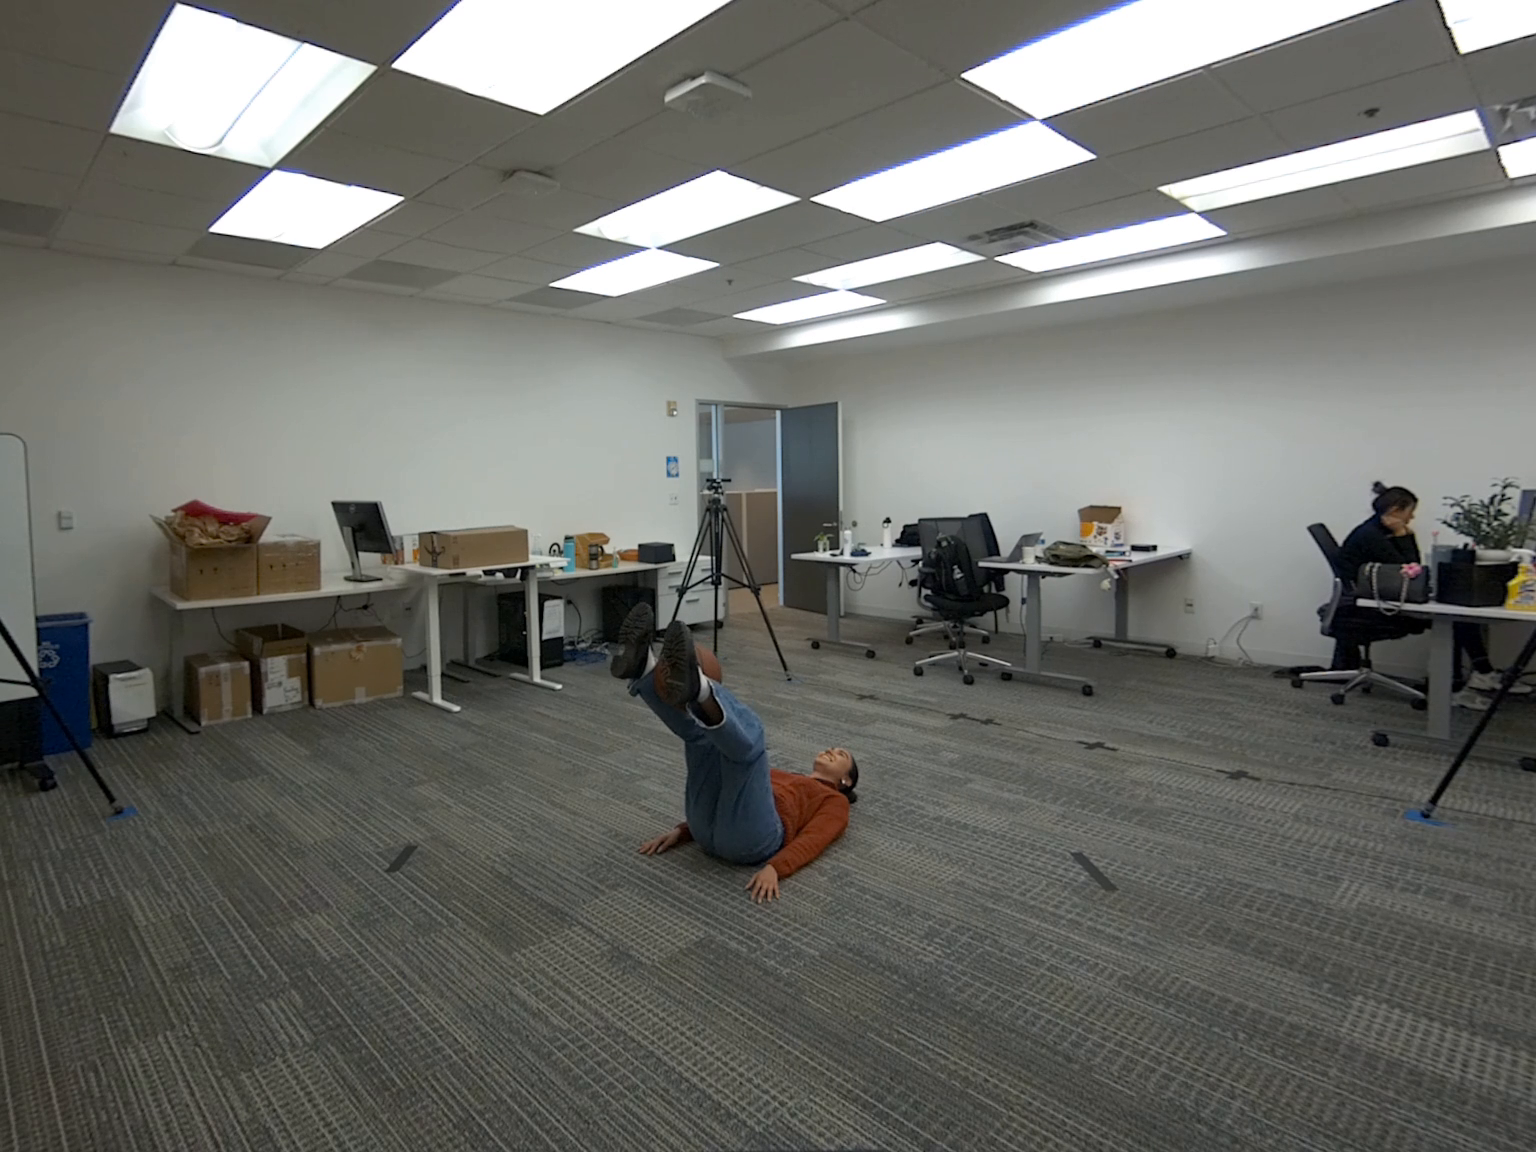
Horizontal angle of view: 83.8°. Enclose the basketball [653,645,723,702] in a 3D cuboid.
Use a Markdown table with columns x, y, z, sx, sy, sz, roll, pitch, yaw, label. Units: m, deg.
| x | y | z | sx | sy | sz | roll | pitch | yaw | label |
| --- | --- | --- | --- | --- | --- | --- | --- | --- | --- |
| -0.279 | 0.351 | 2.951 | 0.236 | 0.235 | 0.237 | -1 | 5 | -2 | basketball |
